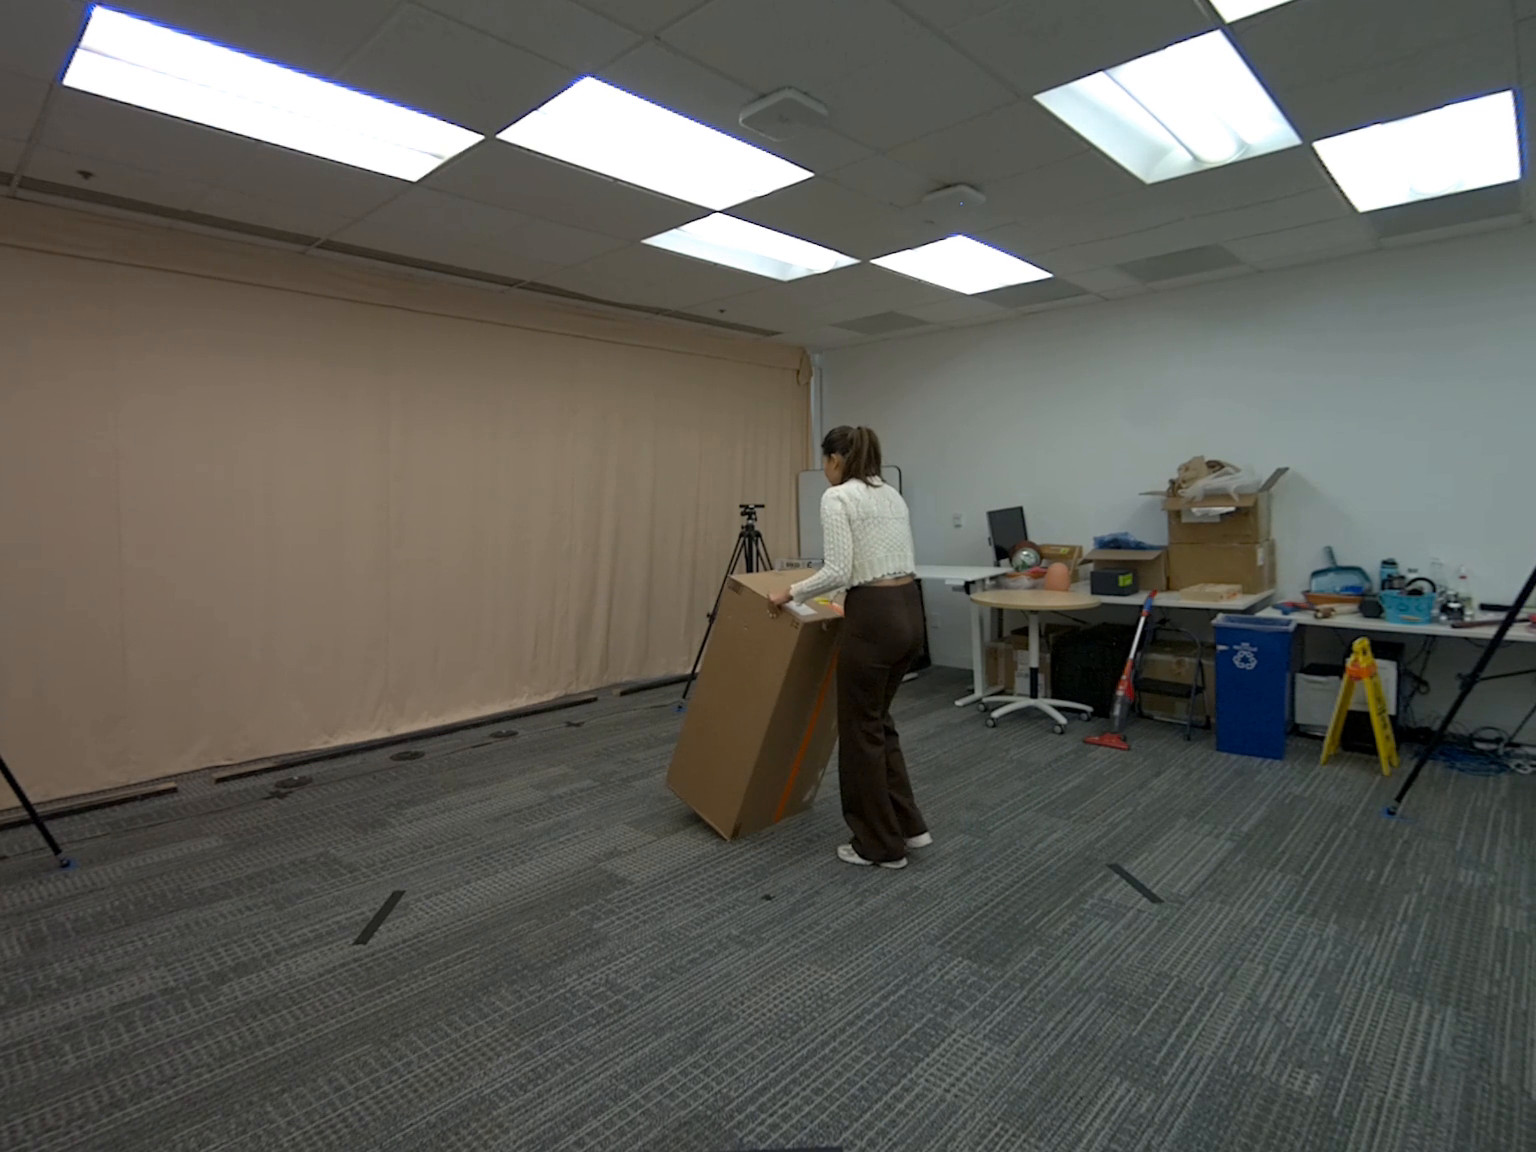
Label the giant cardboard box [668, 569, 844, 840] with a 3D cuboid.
[{"bbox_3d":[0.019,0.531,3.651,0.442,1.021,0.560,31,22,36],"label":"giant cardboard box"}]
